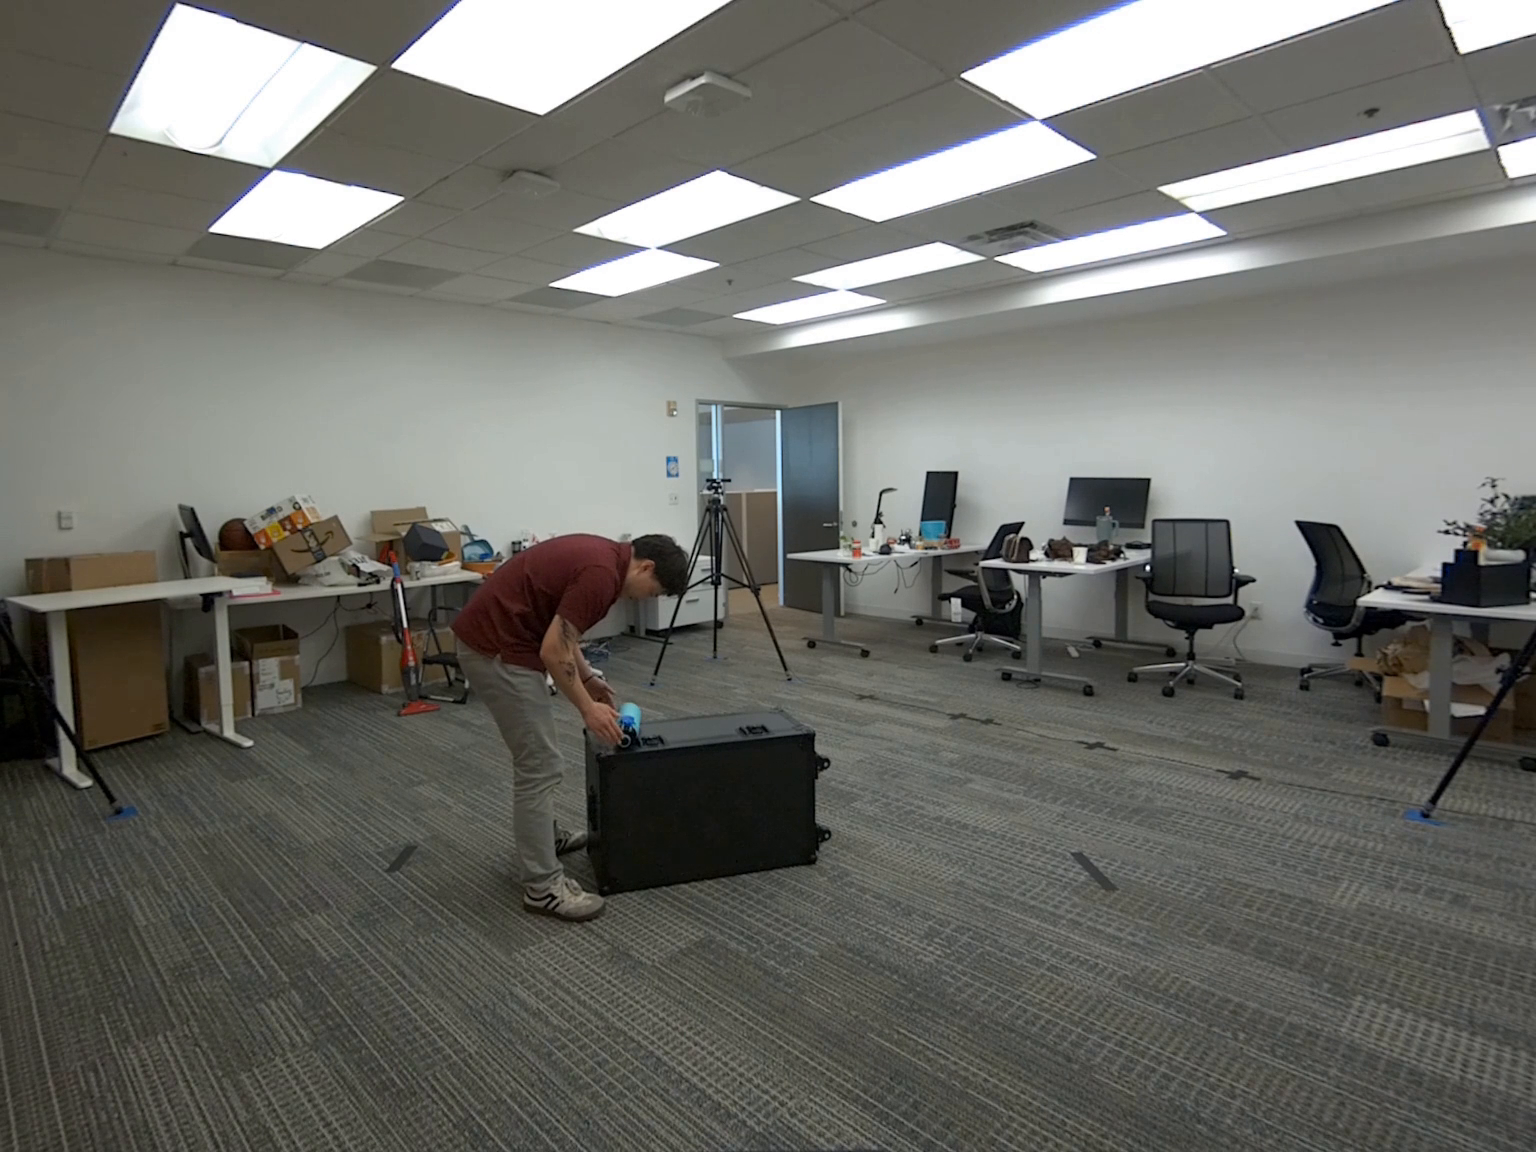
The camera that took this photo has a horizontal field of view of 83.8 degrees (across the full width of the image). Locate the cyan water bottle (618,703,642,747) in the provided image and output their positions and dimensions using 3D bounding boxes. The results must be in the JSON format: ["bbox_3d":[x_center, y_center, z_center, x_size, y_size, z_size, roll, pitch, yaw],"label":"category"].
[{"bbox_3d":[-0.502,0.528,3.048,0.092,0.092,0.285,-1,6,-4],"label":"cyan water bottle"}]
